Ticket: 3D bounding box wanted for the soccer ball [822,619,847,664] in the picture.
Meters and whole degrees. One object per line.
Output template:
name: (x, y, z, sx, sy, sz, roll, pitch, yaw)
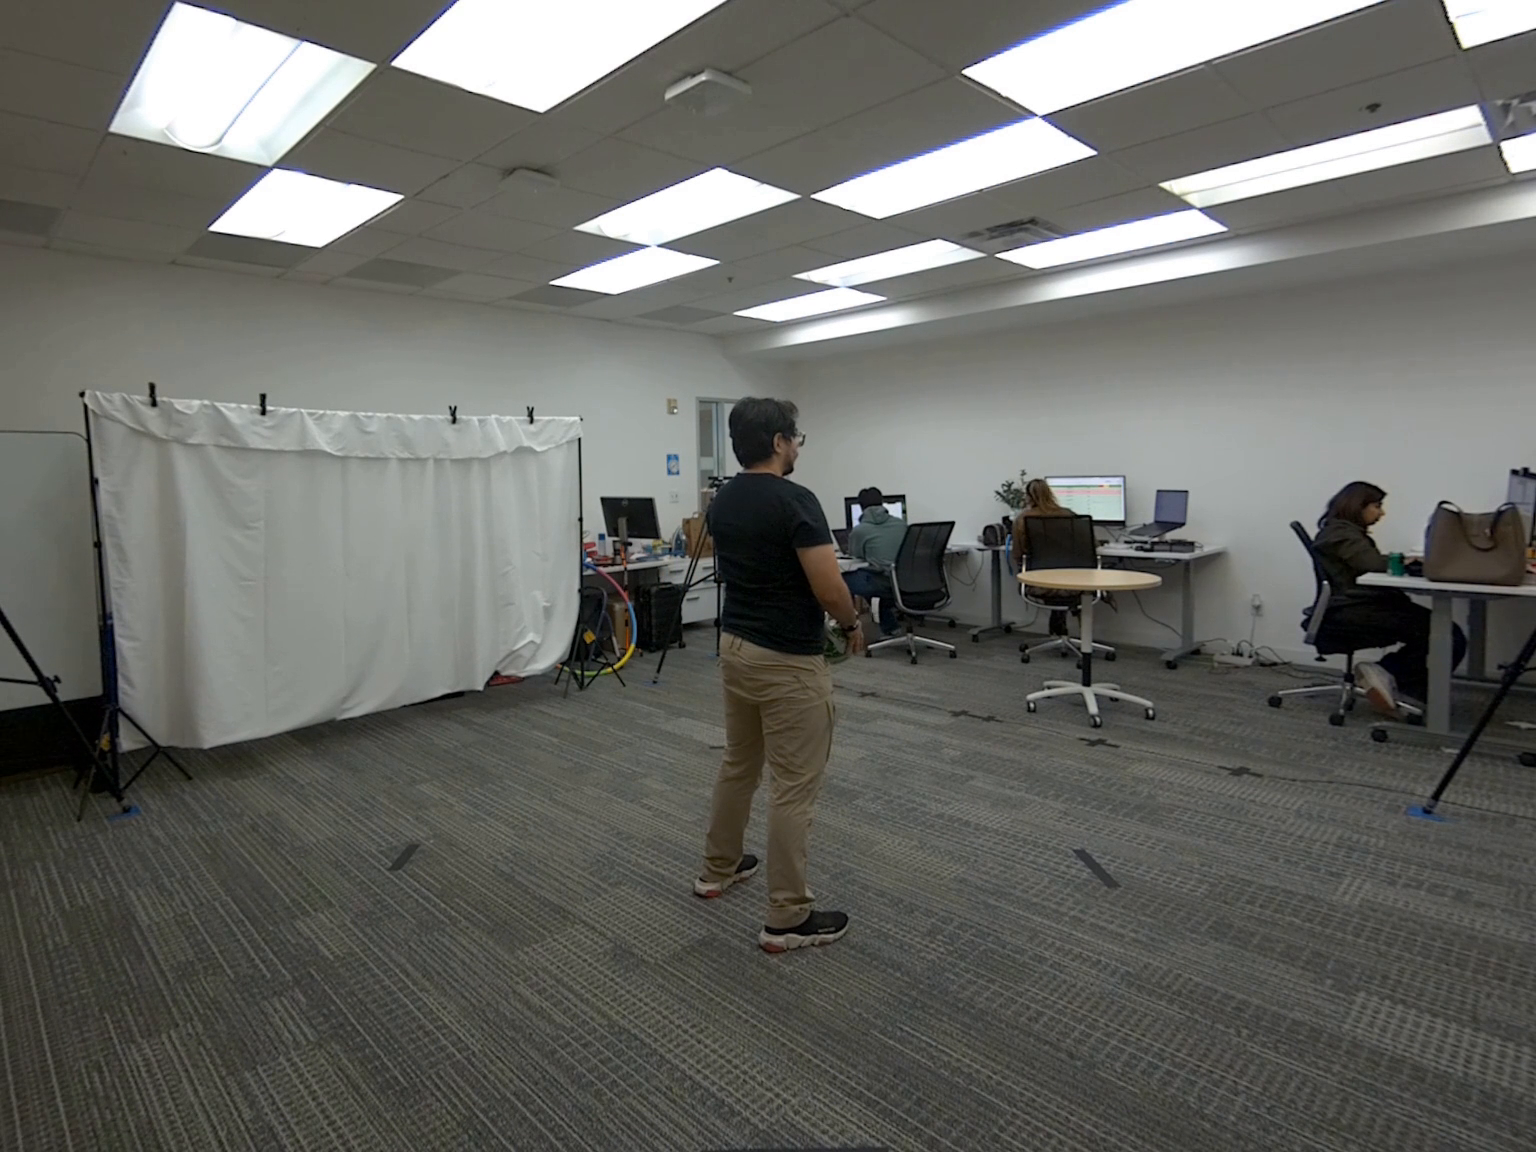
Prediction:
soccer ball: (0.221, 0.196, 2.834, 0.187, 0.187, 0.188, -1, 5, -2)
